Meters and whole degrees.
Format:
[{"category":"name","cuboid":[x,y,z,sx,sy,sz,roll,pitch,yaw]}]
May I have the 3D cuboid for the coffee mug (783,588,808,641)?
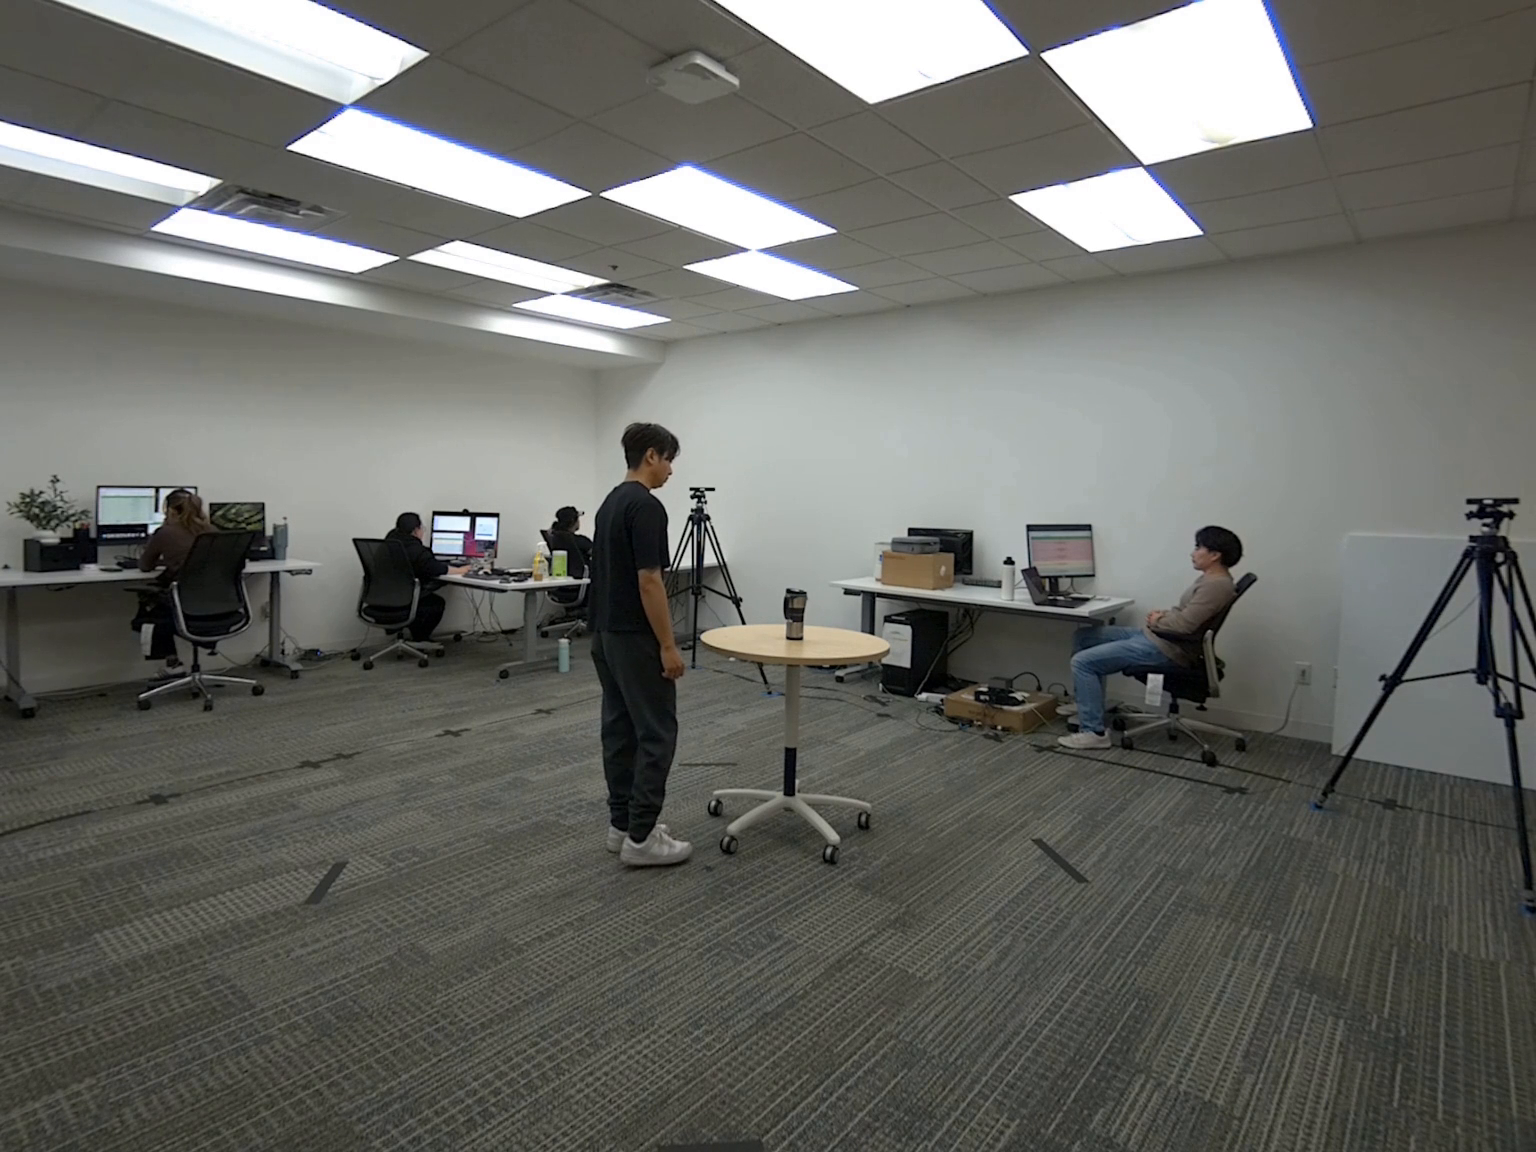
[{"category":"coffee mug","cuboid":[0.088,0.155,3.454,0.118,0.202,0.091,3,8,-35]}]
